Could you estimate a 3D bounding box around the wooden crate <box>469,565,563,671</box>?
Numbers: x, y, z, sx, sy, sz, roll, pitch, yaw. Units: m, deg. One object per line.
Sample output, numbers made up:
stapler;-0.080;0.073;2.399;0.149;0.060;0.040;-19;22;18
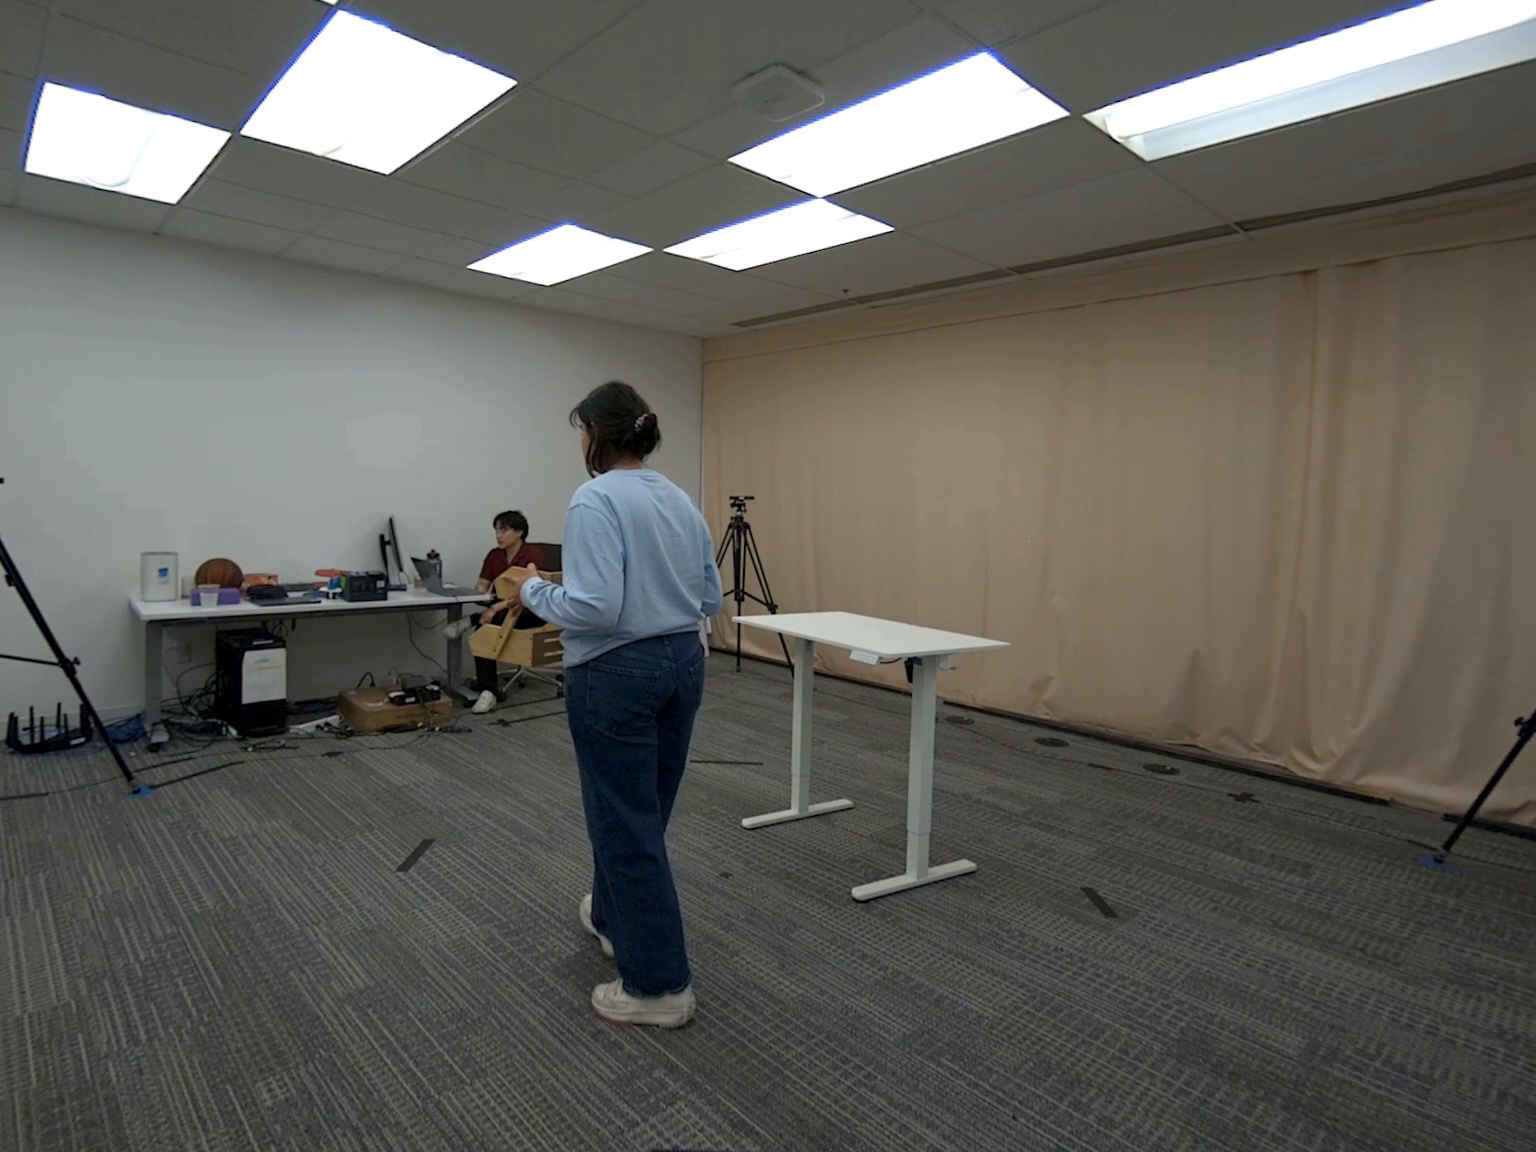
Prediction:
wooden crate;-0.641;0.097;2.415;0.309;0.272;0.318;7;6;29
